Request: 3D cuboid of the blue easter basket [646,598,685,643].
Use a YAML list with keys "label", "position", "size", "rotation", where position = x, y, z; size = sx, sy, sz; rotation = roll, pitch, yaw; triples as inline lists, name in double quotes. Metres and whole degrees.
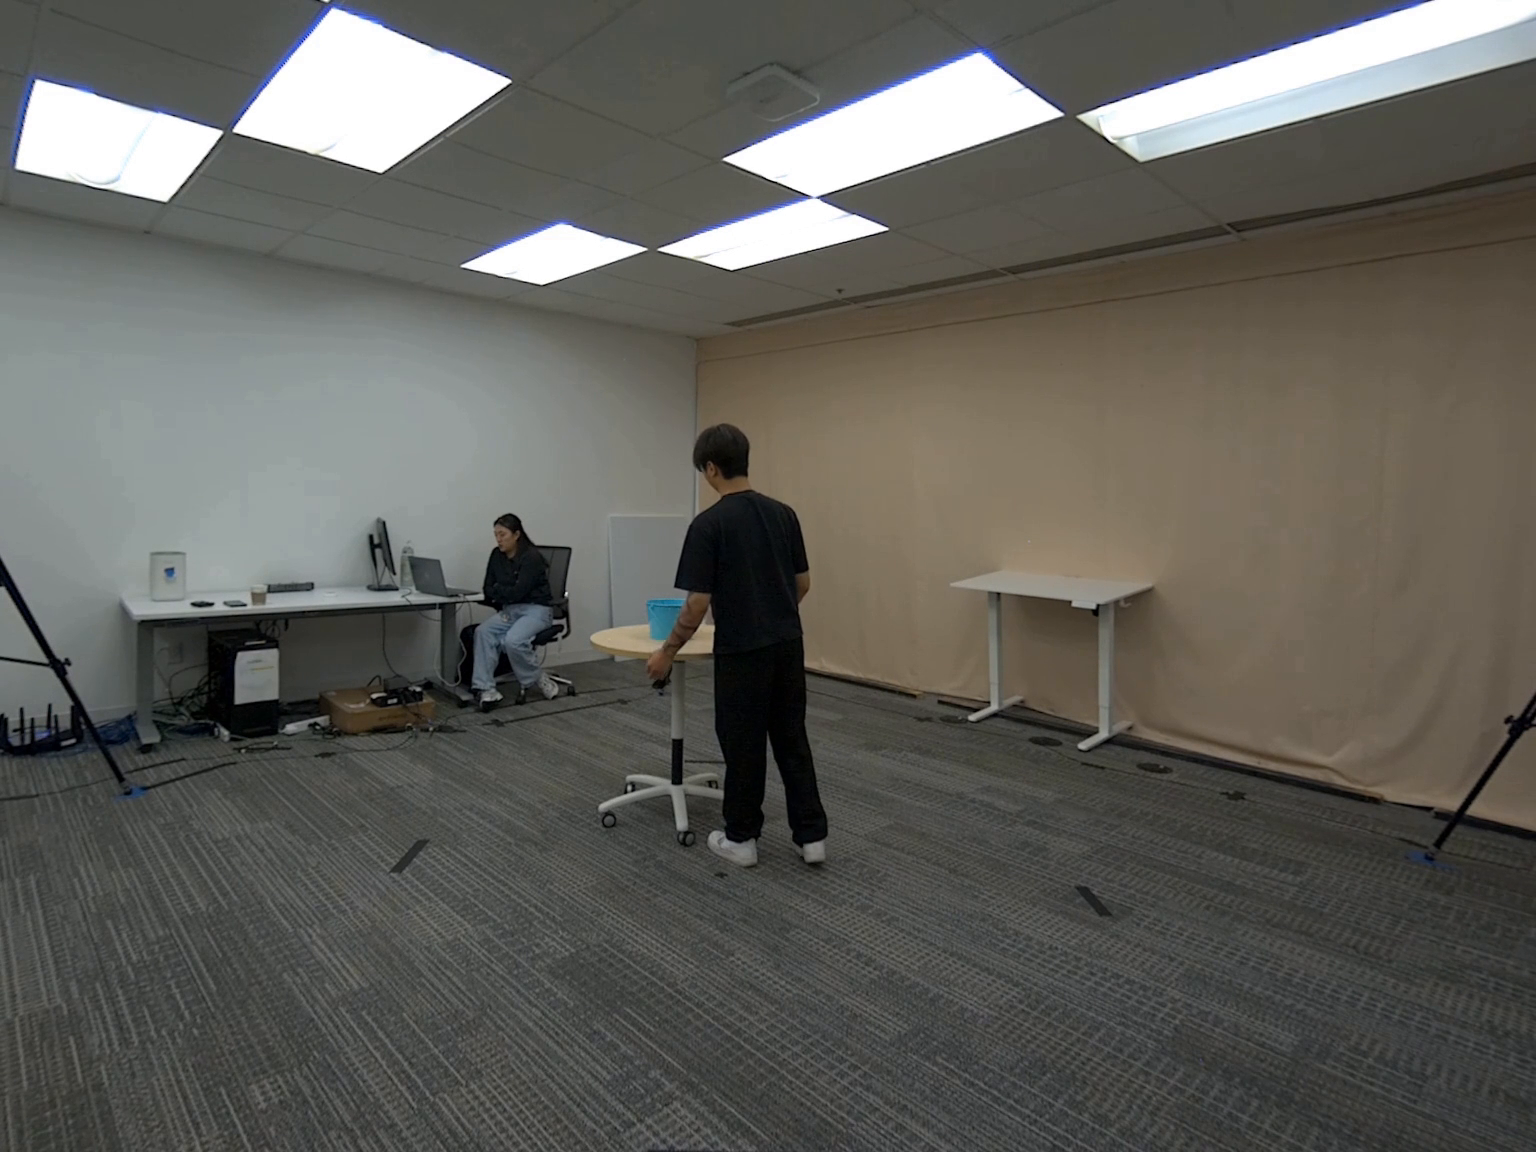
- label: "blue easter basket"
  position: [-0.429, 0.190, 3.648]
  size: [0.243, 0.155, 0.244]
  rotation: [1, 5, -1]
